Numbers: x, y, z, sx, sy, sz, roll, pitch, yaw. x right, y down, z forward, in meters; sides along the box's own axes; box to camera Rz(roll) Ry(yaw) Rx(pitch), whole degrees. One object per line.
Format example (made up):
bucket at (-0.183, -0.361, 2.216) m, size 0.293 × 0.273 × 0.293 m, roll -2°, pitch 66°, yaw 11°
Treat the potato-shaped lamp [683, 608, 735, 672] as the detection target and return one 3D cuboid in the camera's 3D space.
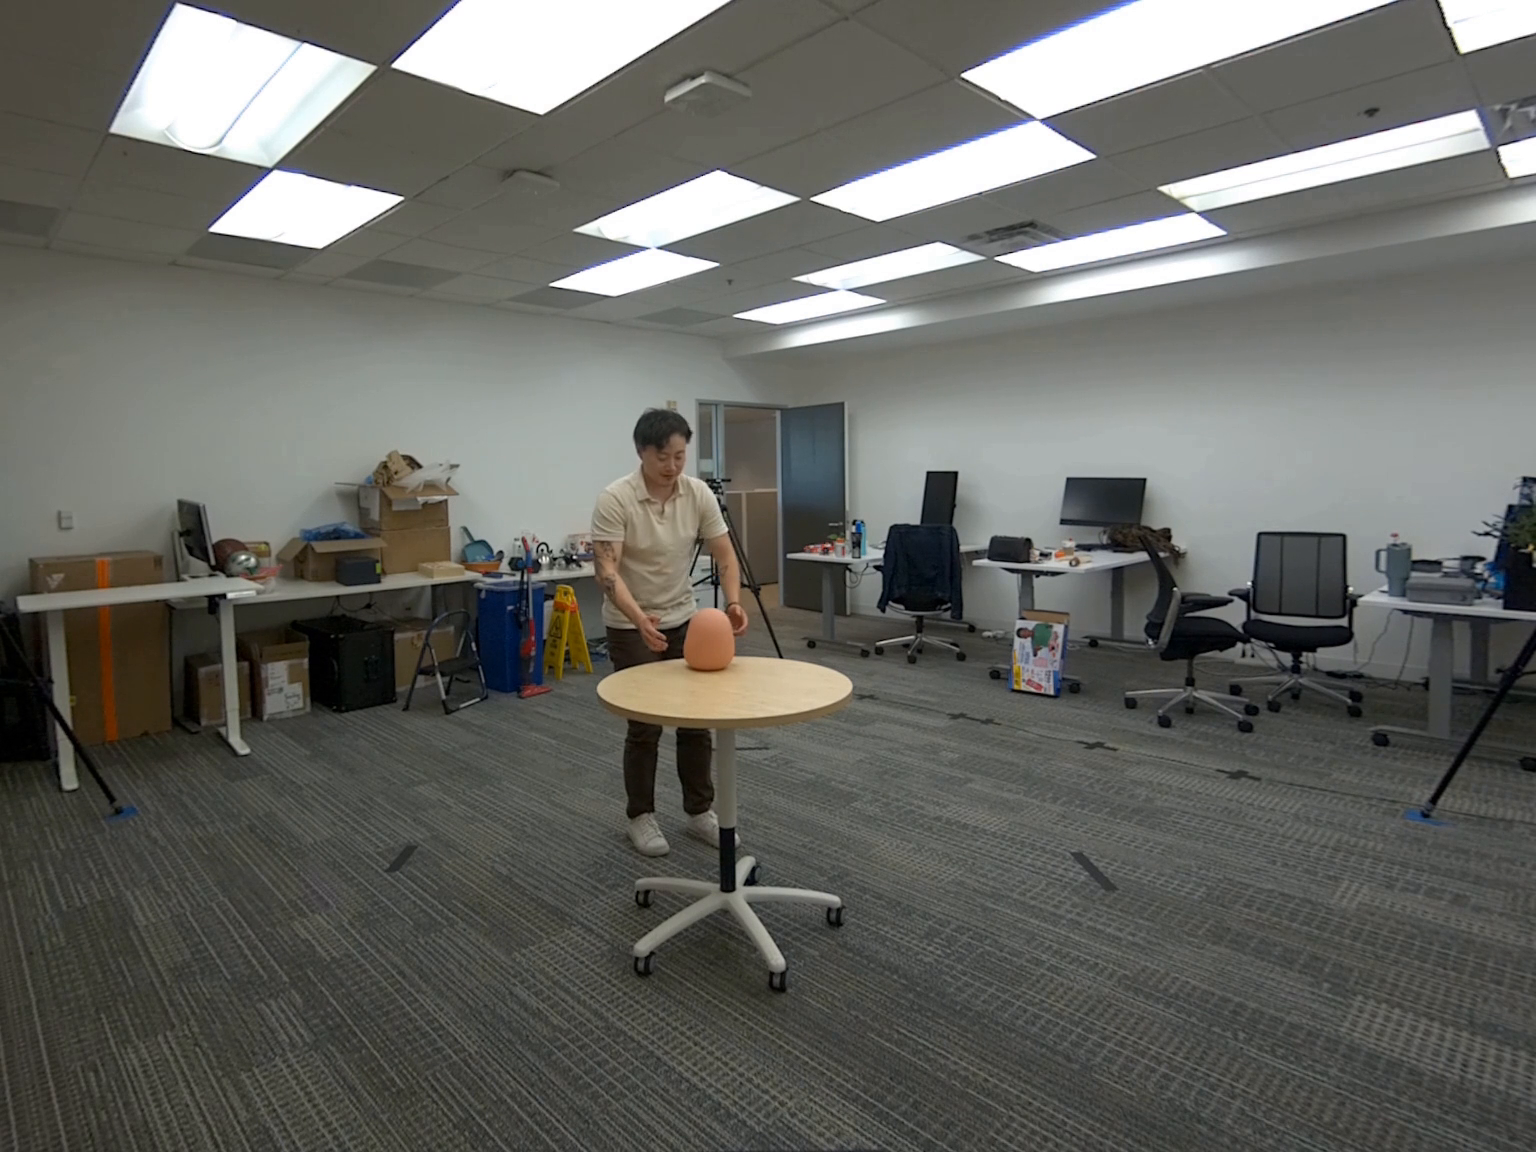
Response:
potato-shaped lamp at (-0.190, 0.201, 2.780) m, size 0.162 × 0.196 × 0.175 m, roll -3°, pitch 10°, yaw -16°
